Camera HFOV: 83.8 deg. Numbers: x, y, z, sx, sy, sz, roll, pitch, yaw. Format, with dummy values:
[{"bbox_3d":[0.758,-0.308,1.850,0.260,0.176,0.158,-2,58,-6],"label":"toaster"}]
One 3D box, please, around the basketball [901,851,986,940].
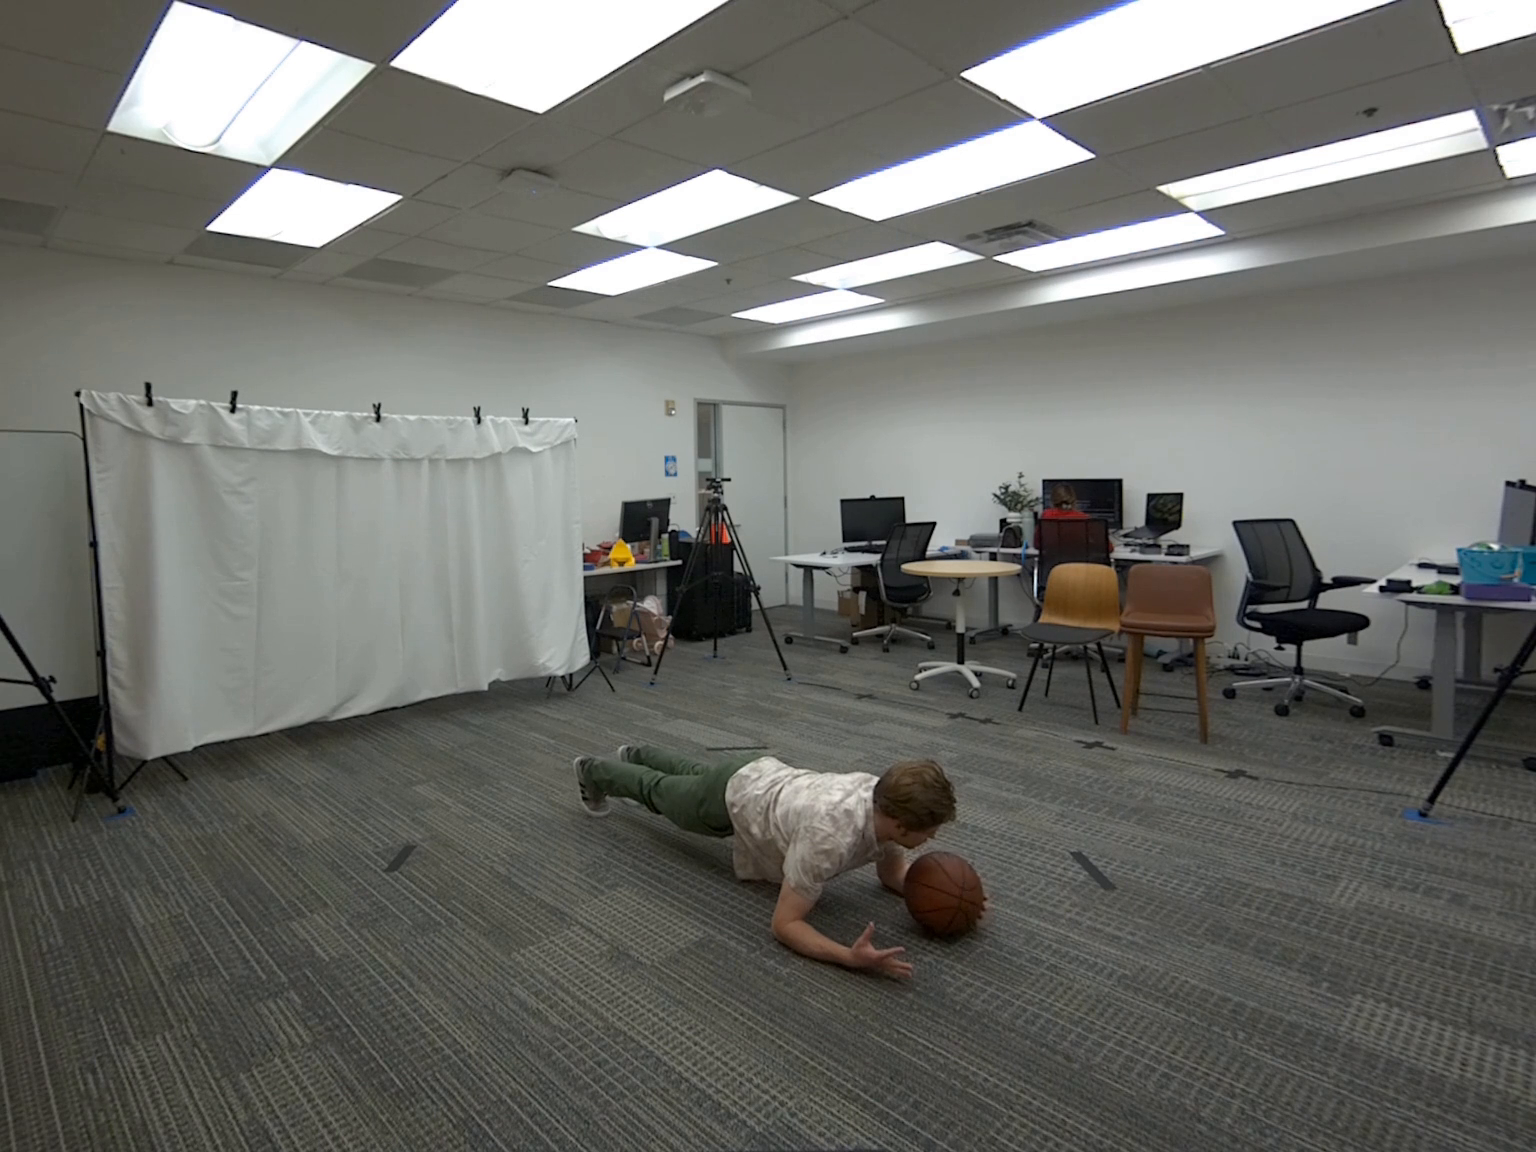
[{"bbox_3d":[0.532,0.962,2.613,0.236,0.235,0.237,-1,5,-2],"label":"basketball"}]
